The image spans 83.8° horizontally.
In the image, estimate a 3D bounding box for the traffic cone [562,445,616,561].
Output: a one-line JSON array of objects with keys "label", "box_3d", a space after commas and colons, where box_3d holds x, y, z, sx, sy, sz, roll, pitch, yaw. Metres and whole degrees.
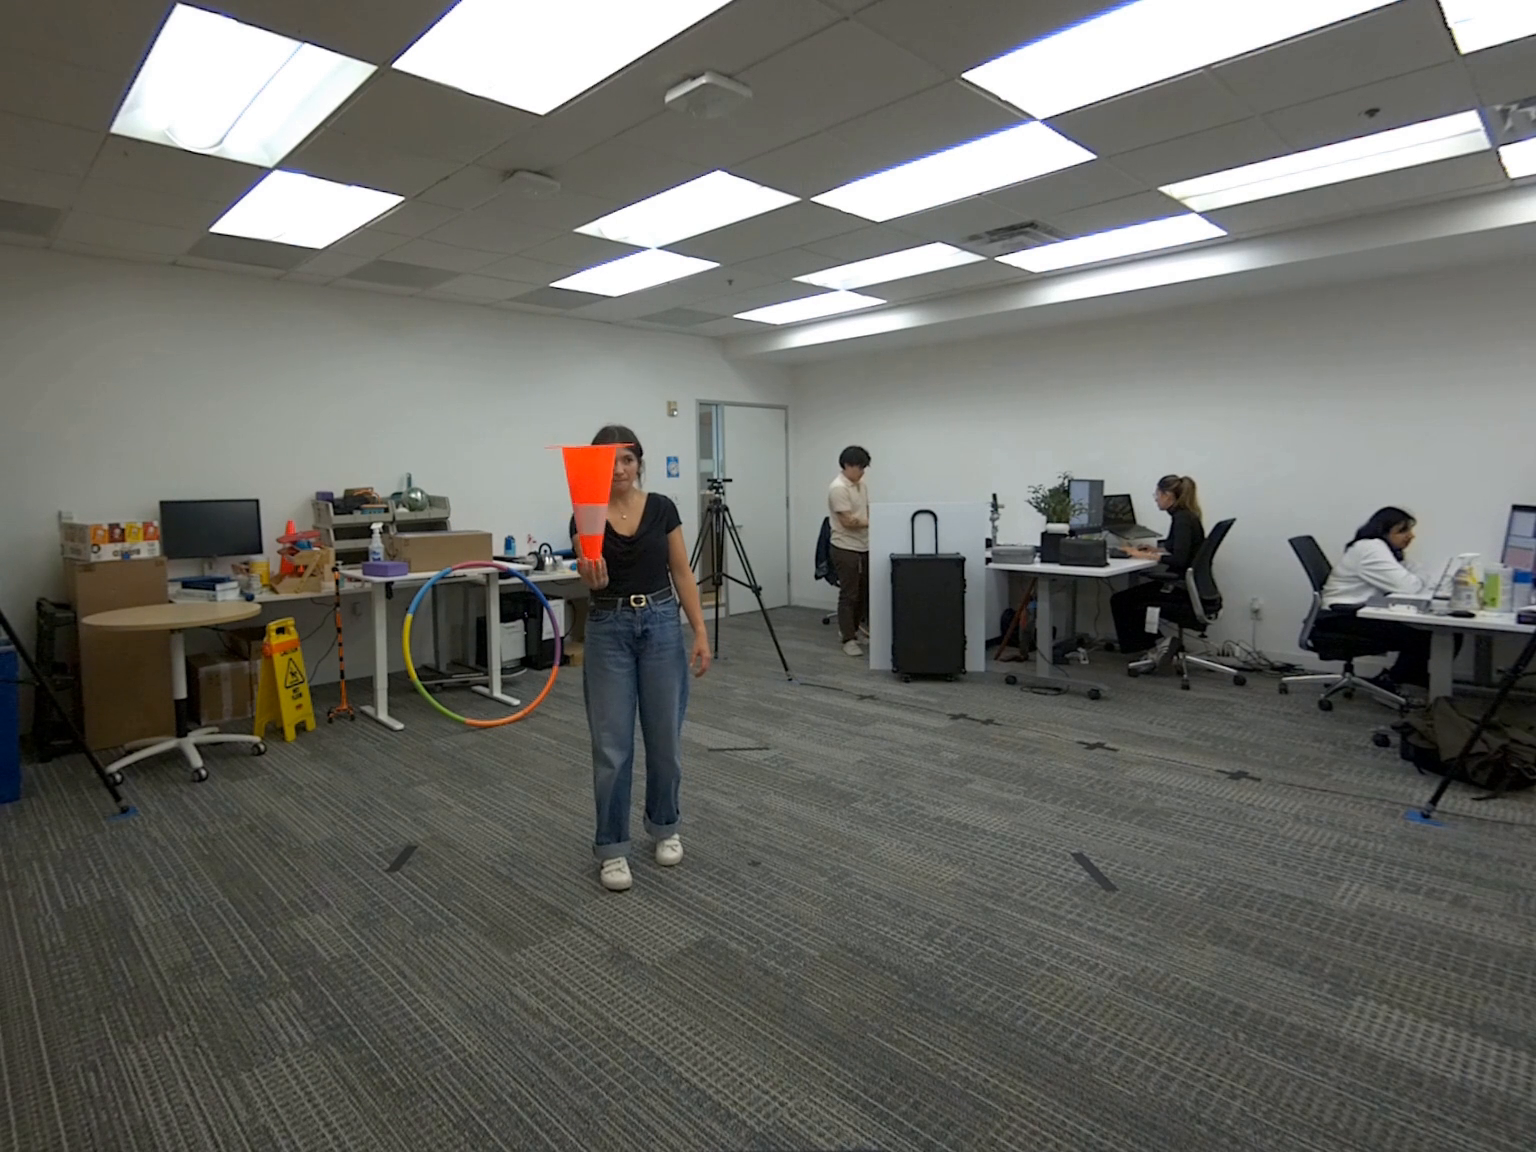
[{"label": "traffic cone", "box_3d": [-0.512, -0.185, 2.498, 0.207, 0.382, 0.202, -1, 5, 12]}]
